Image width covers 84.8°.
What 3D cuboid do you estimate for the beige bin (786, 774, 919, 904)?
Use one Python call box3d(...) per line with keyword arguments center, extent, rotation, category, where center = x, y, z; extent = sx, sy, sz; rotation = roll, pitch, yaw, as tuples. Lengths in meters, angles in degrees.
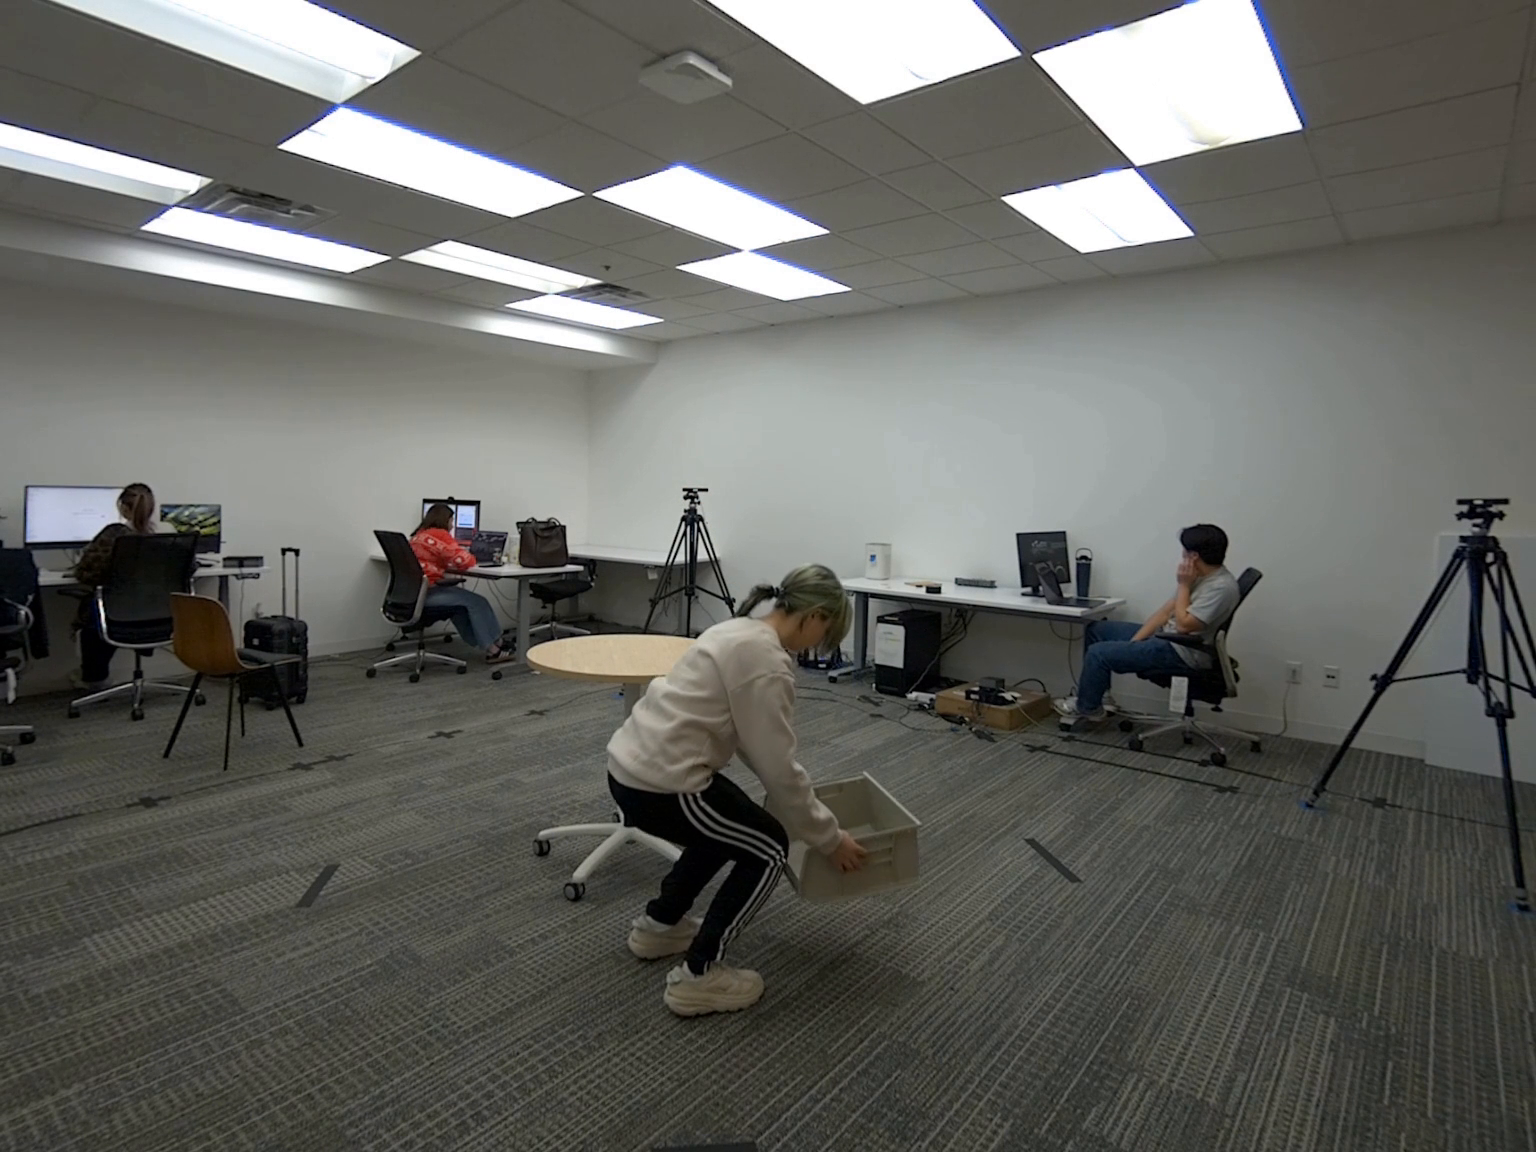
box3d(center=(0.207, 0.791, 2.570), extent=(0.373, 0.188, 0.430), rotation=(-6, 8, -14), category="beige bin")
